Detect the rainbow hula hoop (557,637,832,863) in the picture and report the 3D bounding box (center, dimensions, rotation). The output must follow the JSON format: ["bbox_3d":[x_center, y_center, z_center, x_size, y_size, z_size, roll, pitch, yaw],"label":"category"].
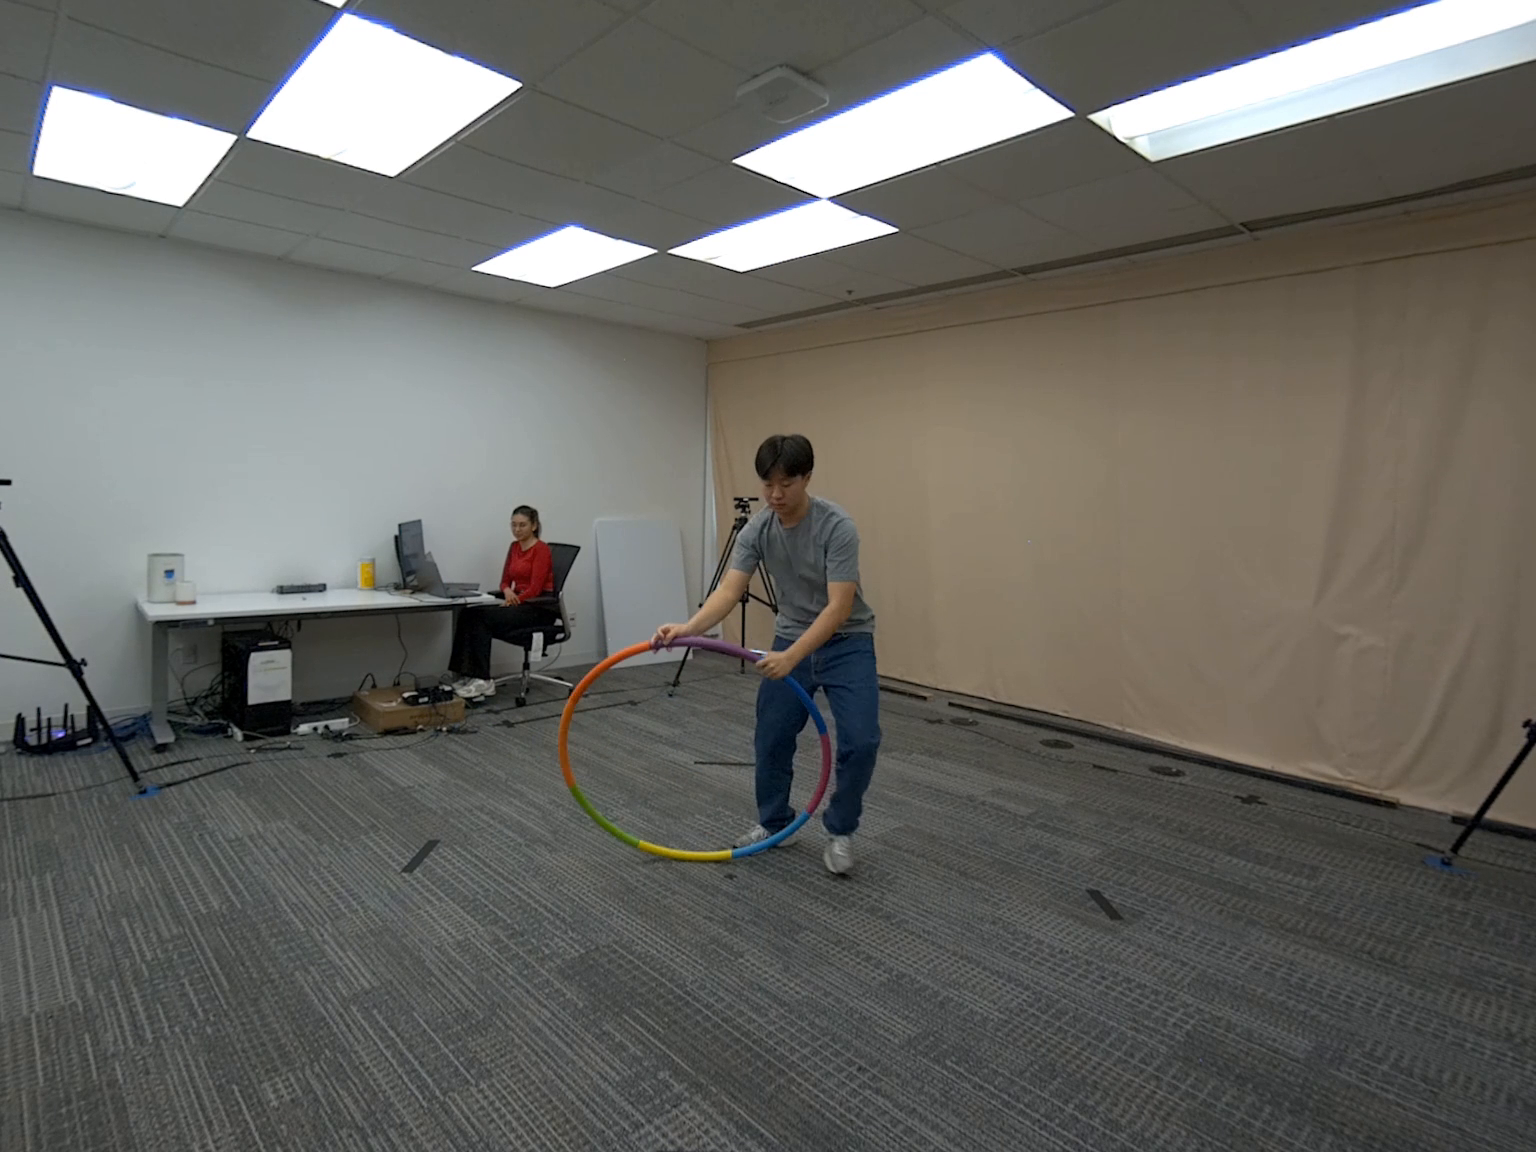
[{"bbox_3d":[-0.272,0.637,3.043,0.981,0.961,0.036,2,27,4],"label":"rainbow hula hoop"}]
